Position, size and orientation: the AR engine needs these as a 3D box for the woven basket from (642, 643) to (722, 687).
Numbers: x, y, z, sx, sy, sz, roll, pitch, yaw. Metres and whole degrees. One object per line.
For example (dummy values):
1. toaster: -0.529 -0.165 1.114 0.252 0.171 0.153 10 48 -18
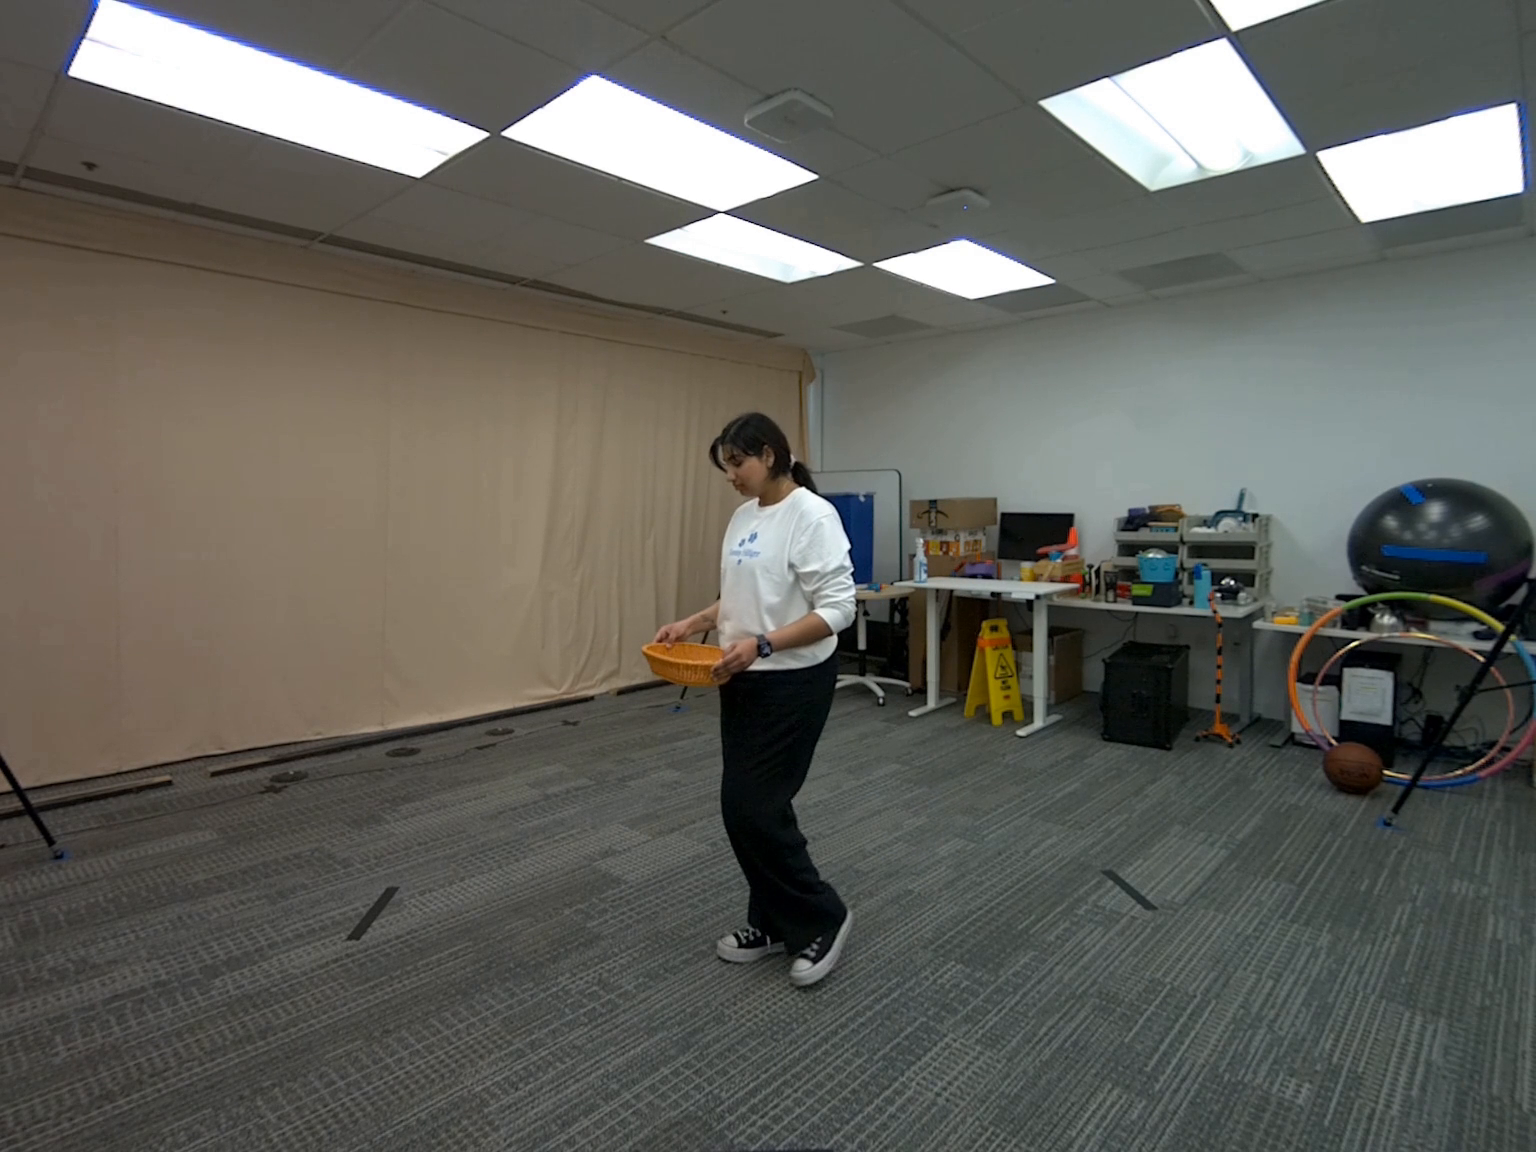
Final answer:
1. woven basket: -0.193 0.260 2.415 0.245 0.073 0.361 0 3 -36
